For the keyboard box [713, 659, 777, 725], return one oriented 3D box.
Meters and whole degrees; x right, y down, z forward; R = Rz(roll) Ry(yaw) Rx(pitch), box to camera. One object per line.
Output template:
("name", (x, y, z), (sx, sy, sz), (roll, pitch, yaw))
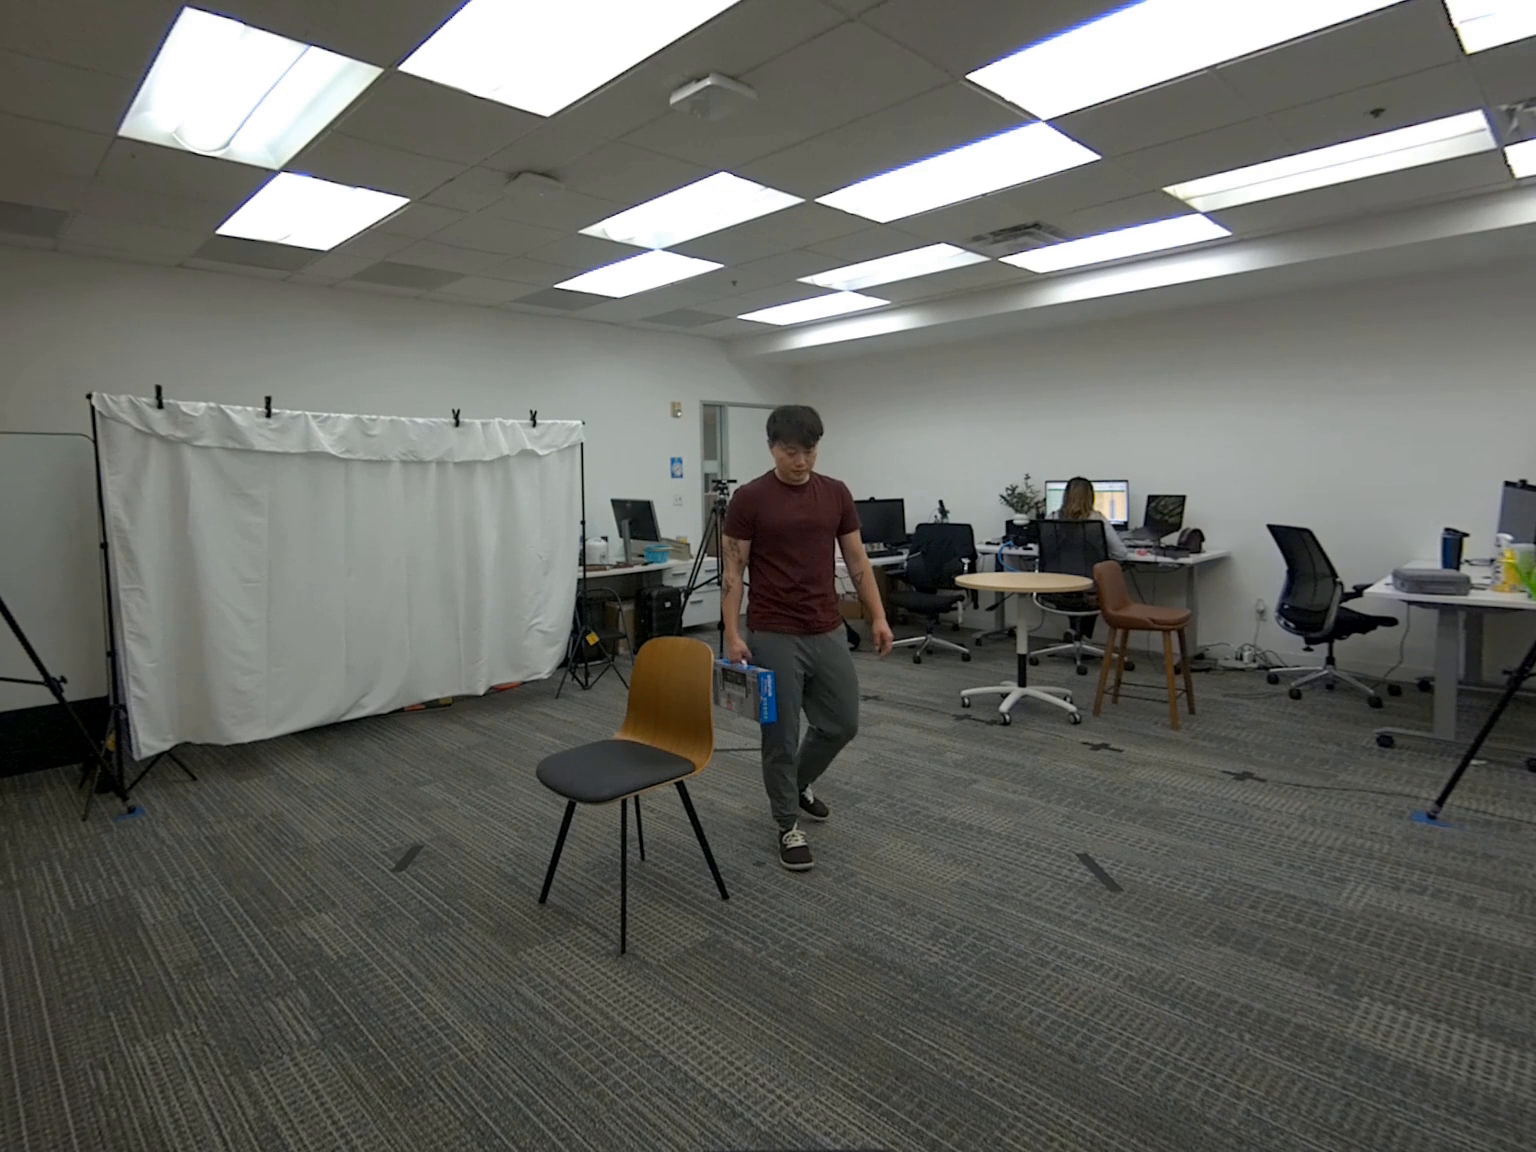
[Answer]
("keyboard box", (-0.096, 0.406, 3.090), (0.058, 0.176, 0.445), (-3, 2, -23))
